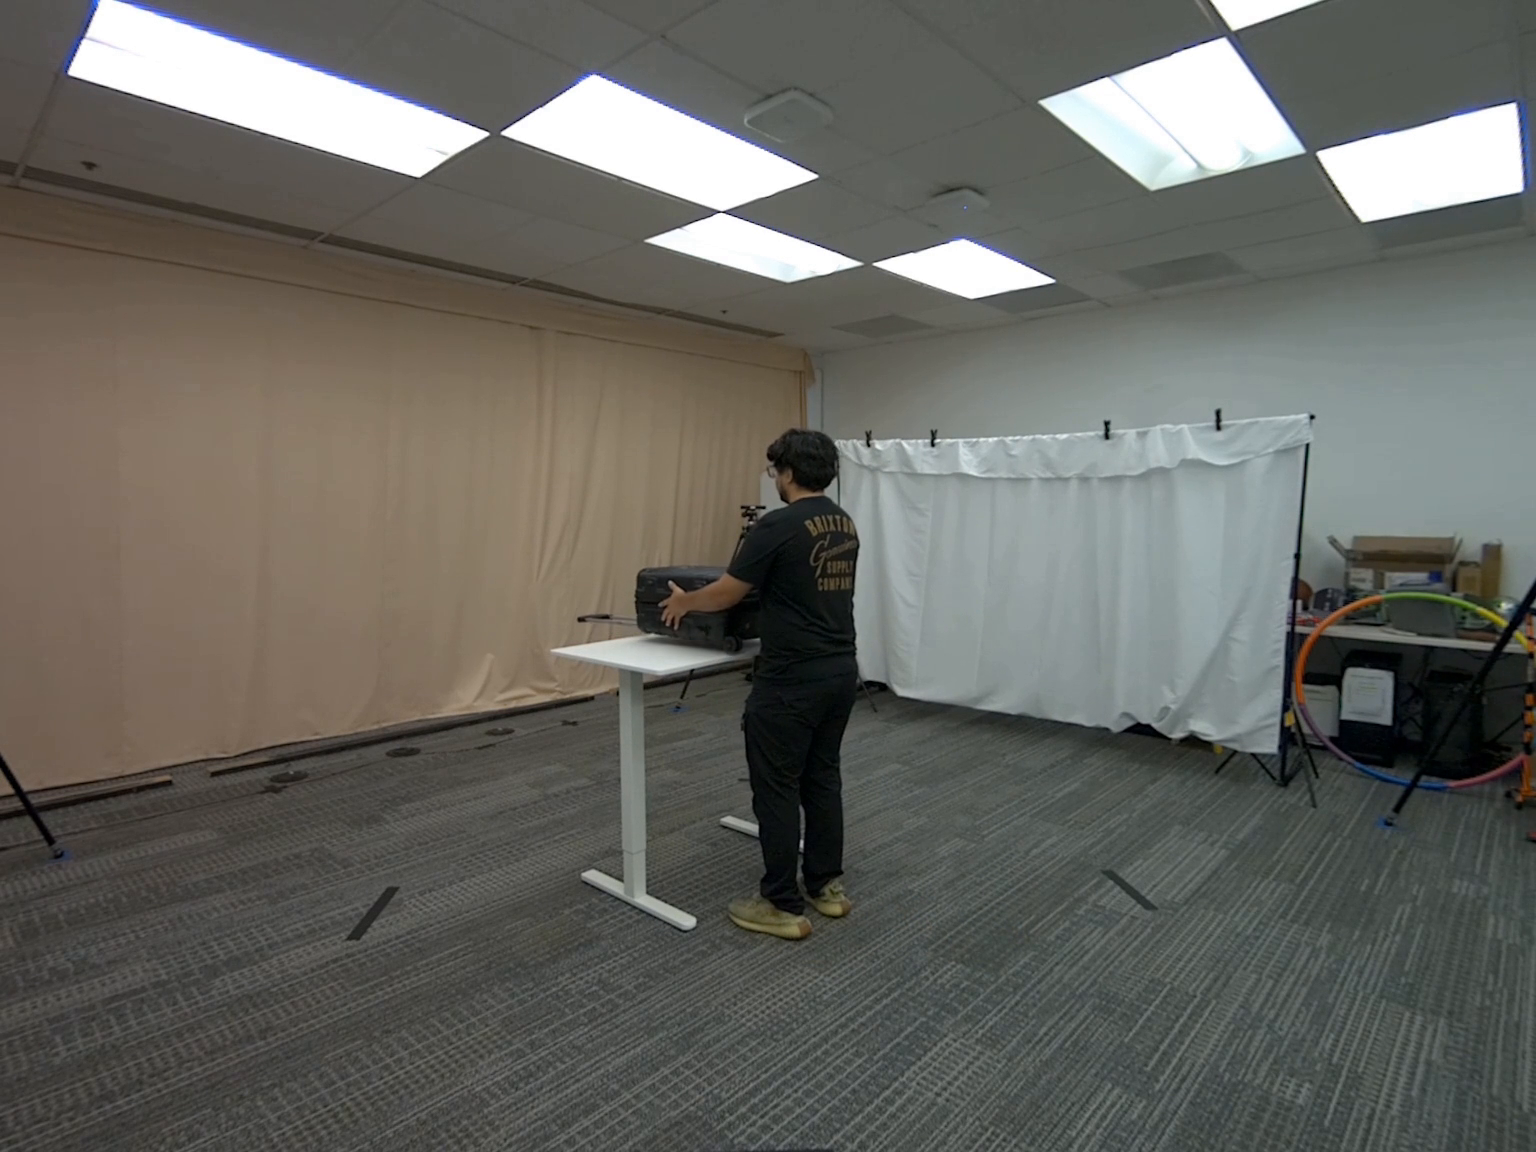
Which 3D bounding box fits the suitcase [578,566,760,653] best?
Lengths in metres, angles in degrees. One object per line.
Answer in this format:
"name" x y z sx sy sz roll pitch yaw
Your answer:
"suitcase" -0.376 0.079 3.296 1.012 0.256 0.372 6 8 43
